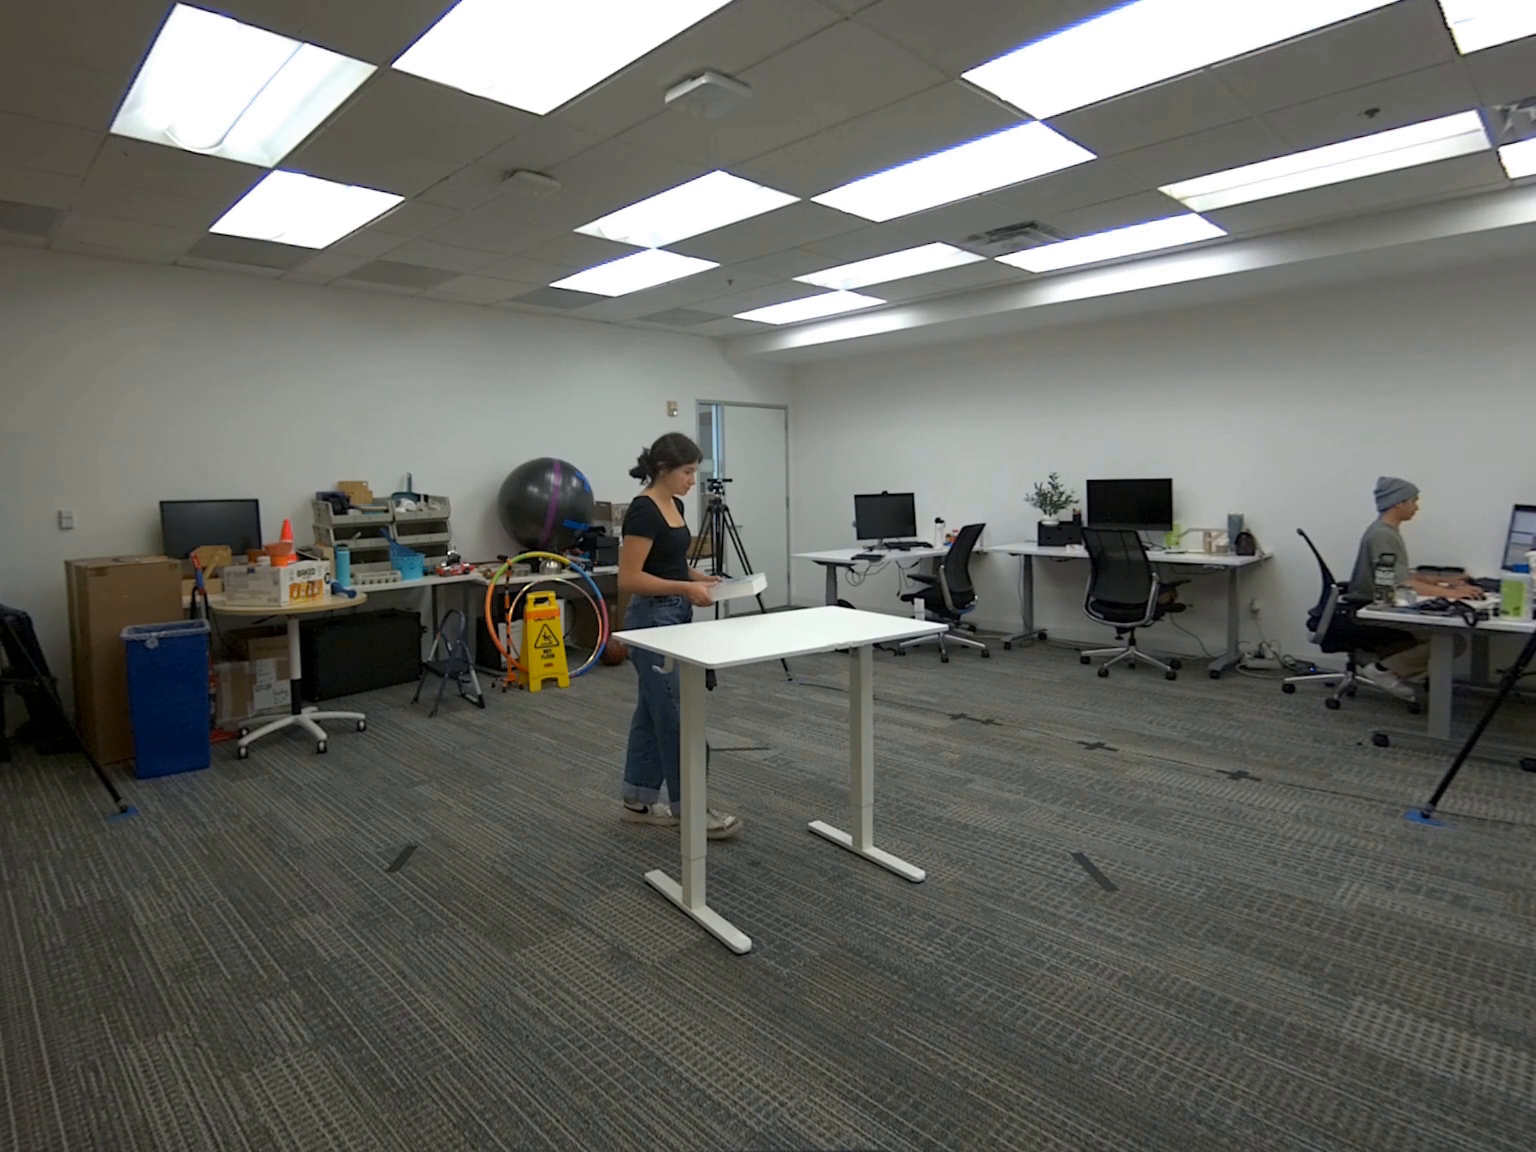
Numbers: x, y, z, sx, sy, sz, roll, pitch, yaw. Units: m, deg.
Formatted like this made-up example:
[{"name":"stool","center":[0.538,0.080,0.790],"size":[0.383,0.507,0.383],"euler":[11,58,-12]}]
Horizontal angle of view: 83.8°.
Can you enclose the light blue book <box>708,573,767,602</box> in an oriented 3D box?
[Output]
[{"name":"light blue book","center":[-0.163,0.046,3.327],"size":[0.265,0.059,0.189],"euler":[-8,4,19]}]
